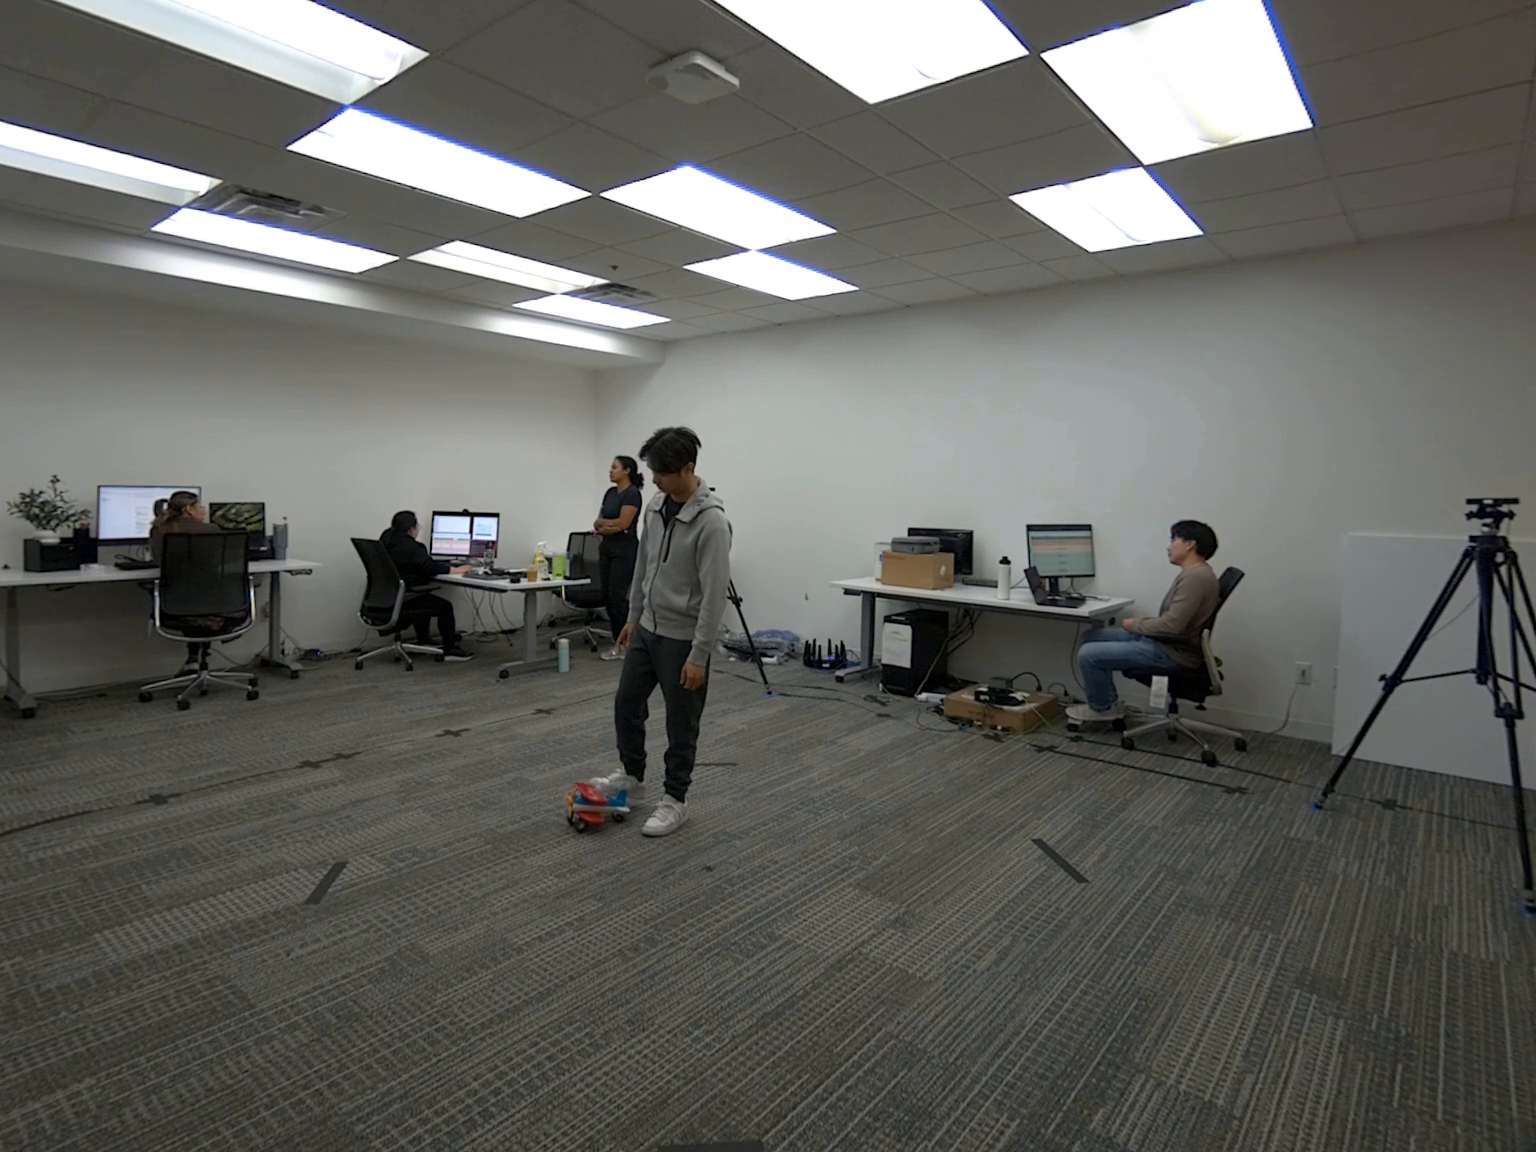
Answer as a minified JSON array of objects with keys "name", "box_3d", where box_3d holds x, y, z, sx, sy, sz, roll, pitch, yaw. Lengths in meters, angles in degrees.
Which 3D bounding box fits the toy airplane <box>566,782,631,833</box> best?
[{"name":"toy airplane","box_3d":[-0.728,0.947,3.511,0.258,0.156,0.252,0,6,33]}]
